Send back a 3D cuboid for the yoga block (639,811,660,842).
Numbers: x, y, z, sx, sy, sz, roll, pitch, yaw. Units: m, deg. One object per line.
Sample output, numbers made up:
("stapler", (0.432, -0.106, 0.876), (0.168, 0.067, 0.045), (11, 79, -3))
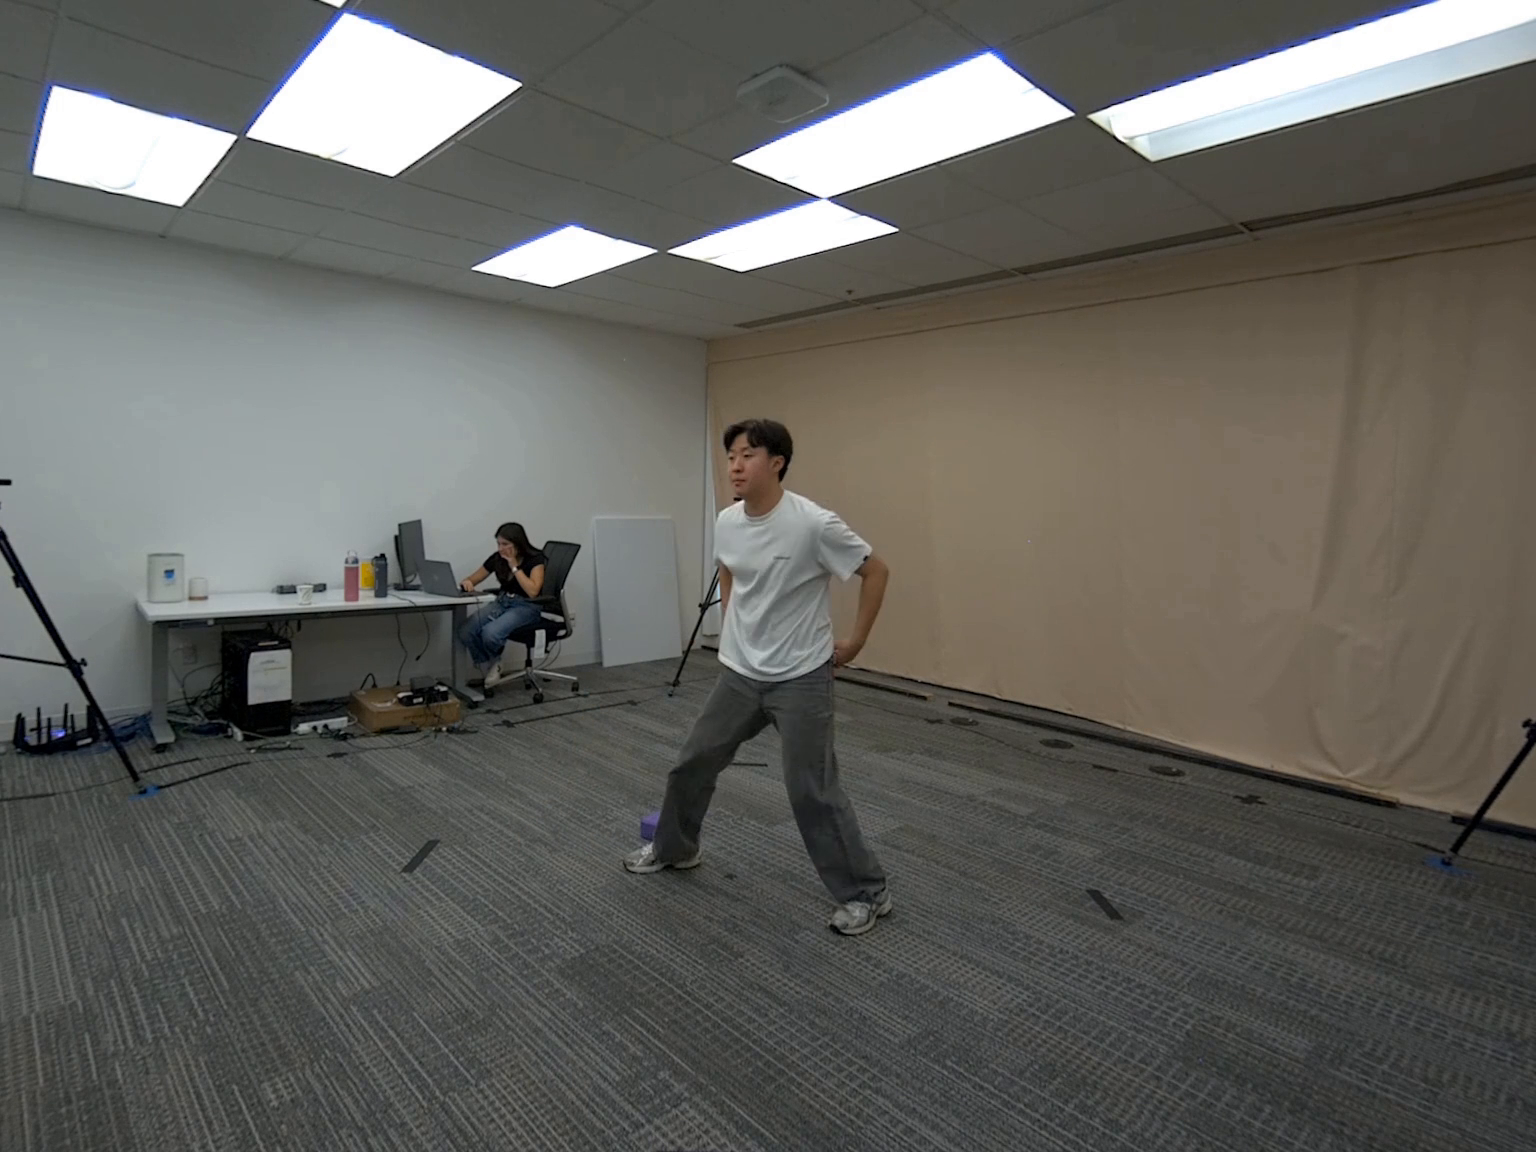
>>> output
("yoga block", (-0.415, 1.035, 3.493), (0.152, 0.076, 0.225), (5, 6, 27))
